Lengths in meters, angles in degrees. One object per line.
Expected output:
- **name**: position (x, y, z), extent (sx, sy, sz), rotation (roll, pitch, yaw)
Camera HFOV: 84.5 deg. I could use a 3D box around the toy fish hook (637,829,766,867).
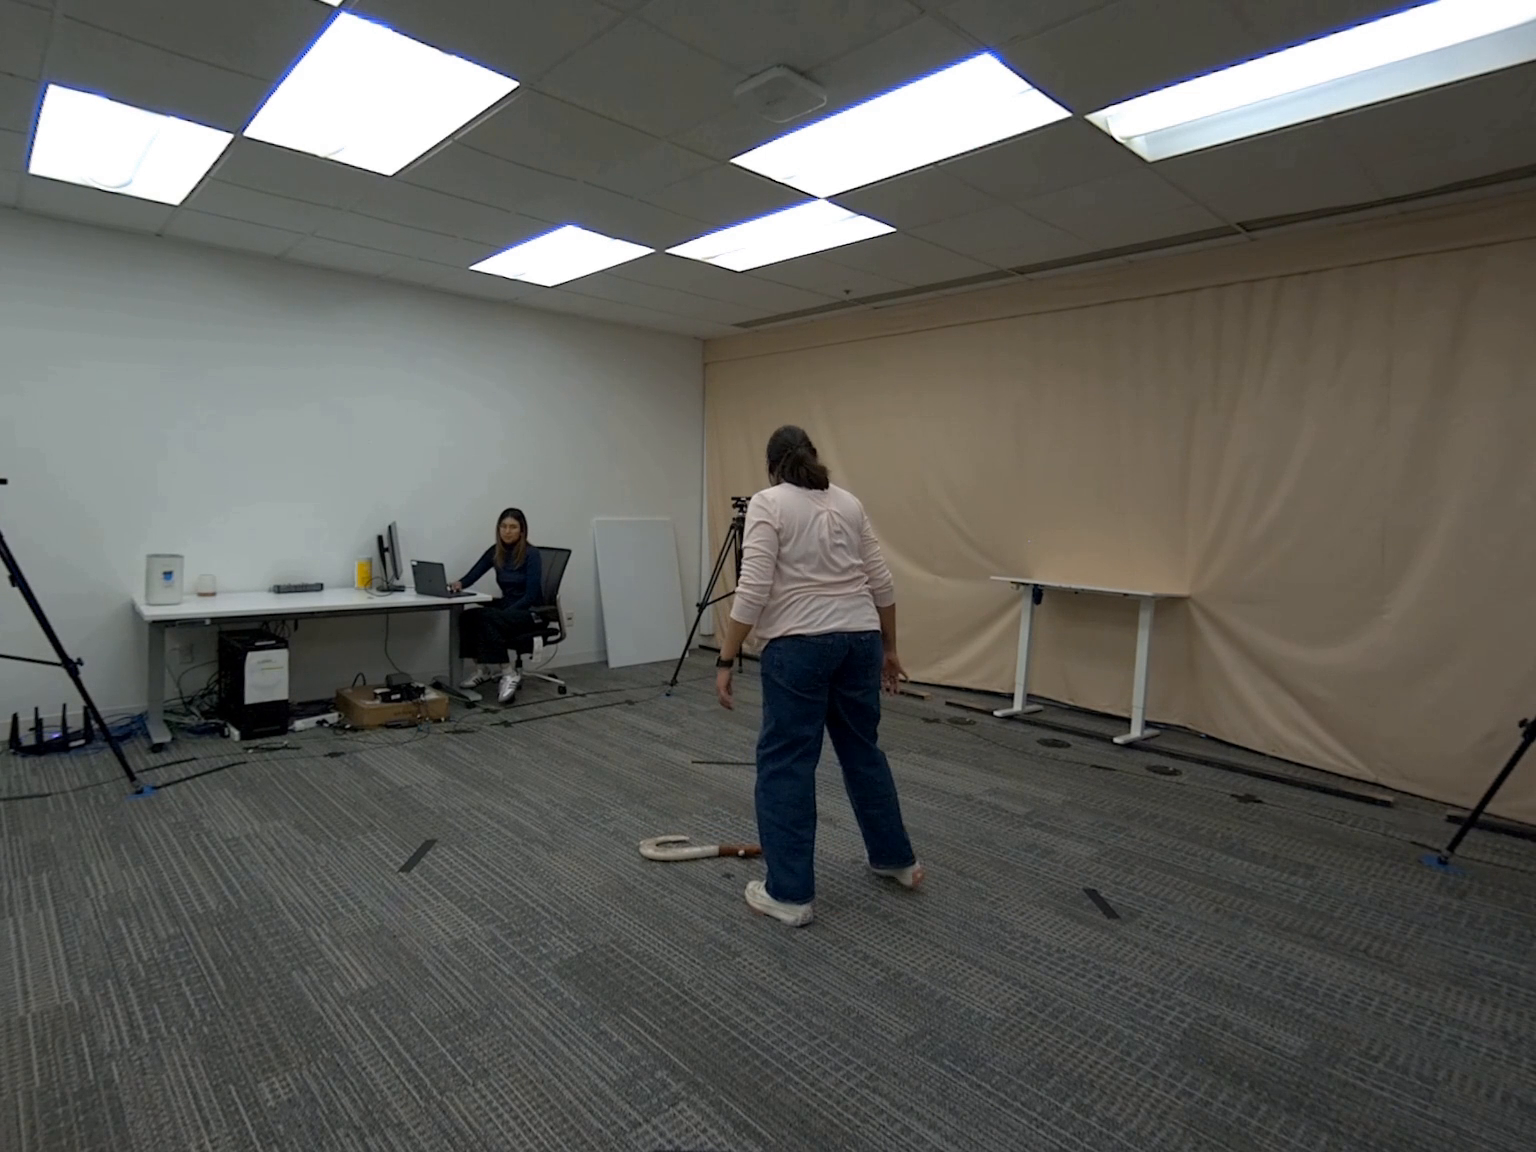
- **toy fish hook**: position (-0.254, 1.061, 3.312), extent (0.505, 0.048, 0.226), rotation (1, 6, -4)
